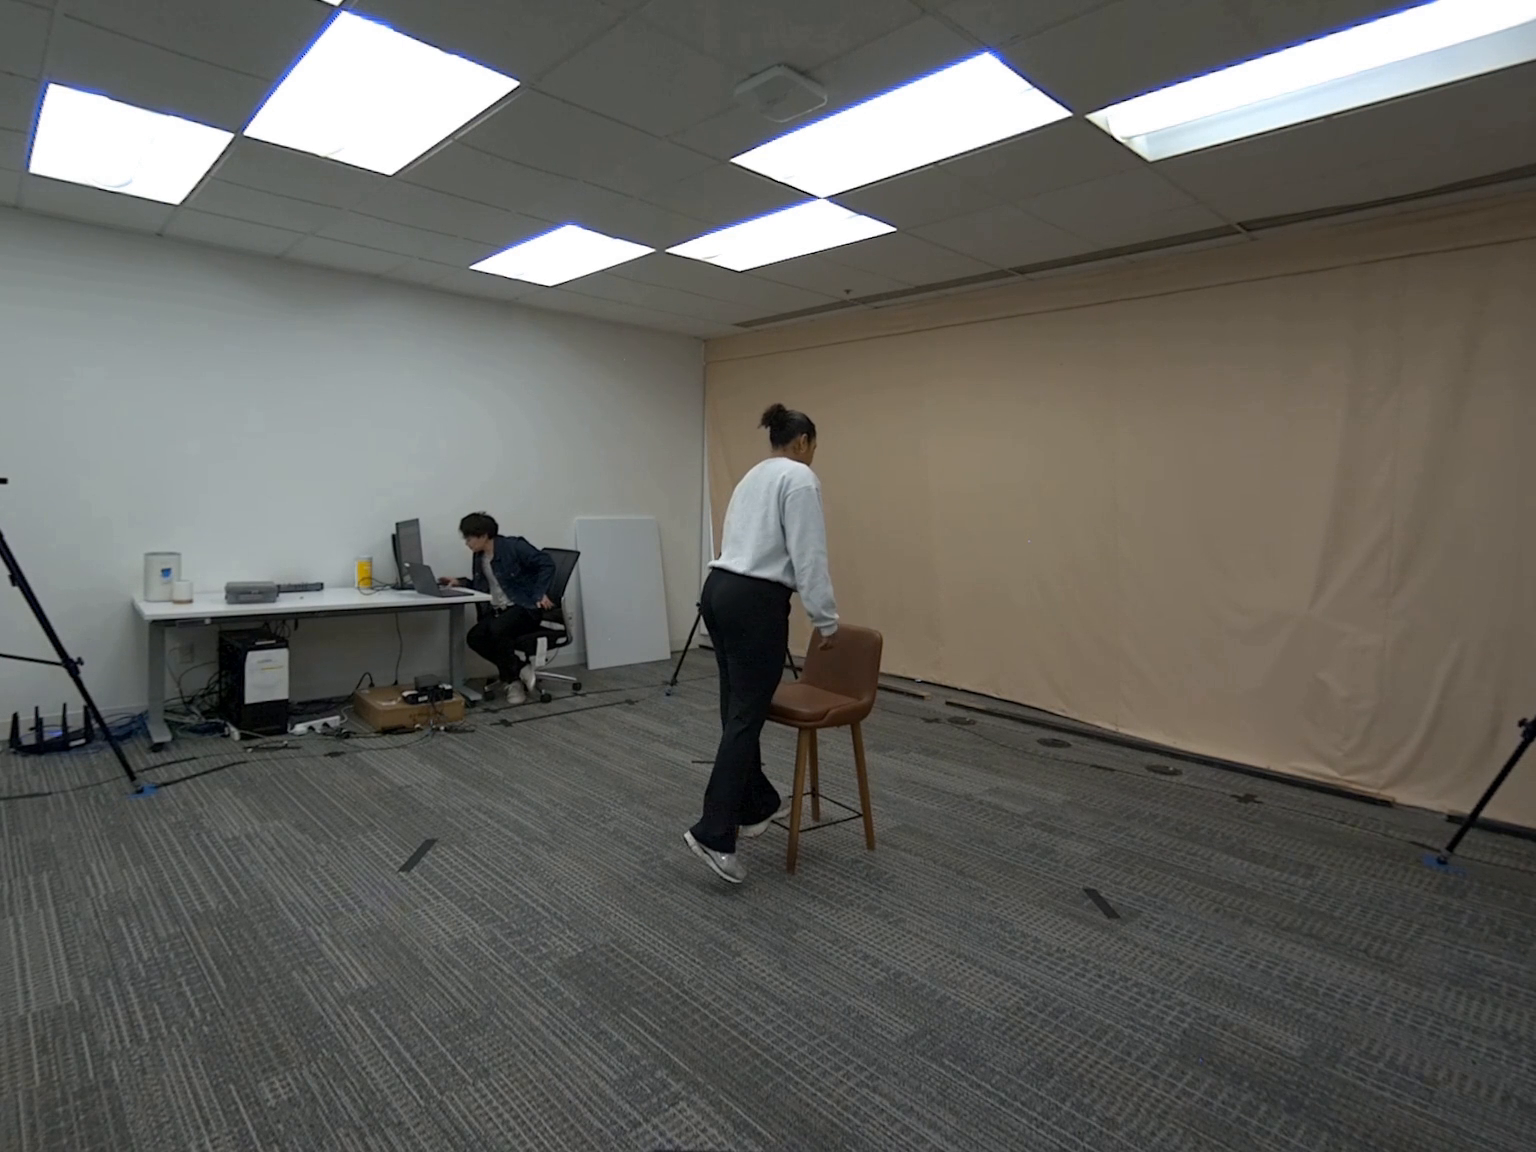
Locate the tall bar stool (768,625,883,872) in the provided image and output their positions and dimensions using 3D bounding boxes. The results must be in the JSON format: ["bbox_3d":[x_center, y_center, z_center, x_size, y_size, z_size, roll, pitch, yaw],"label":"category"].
[{"bbox_3d":[0.152,0.650,3.396,0.457,0.888,0.467,1,2,-34],"label":"tall bar stool"}]
